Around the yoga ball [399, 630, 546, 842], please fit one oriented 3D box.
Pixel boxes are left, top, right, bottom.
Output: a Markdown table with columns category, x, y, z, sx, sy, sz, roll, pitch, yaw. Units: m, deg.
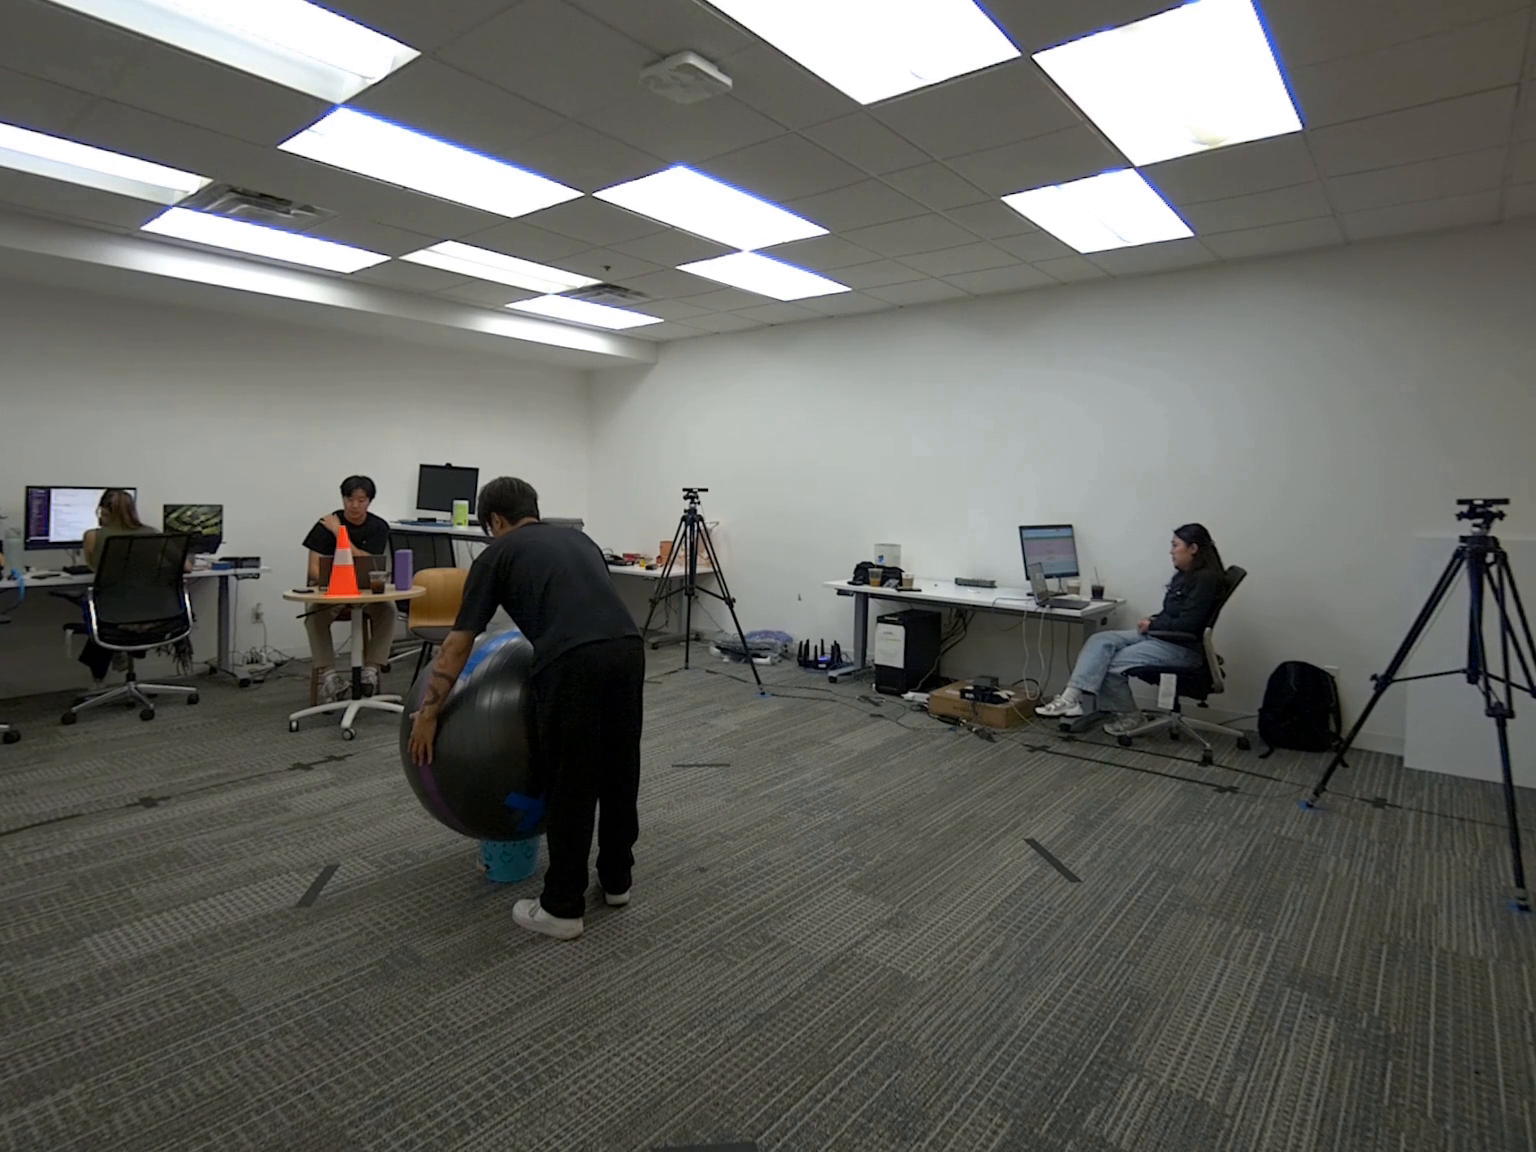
| category | x | y | z | sx | sy | sz | roll | pitch | yaw |
| --- | --- | --- | --- | --- | --- | --- | --- | --- | --- |
| yoga ball | -0.936 | 0.551 | 3.058 | 0.757 | 0.756 | 0.762 | 1 | 4 | -2 |
